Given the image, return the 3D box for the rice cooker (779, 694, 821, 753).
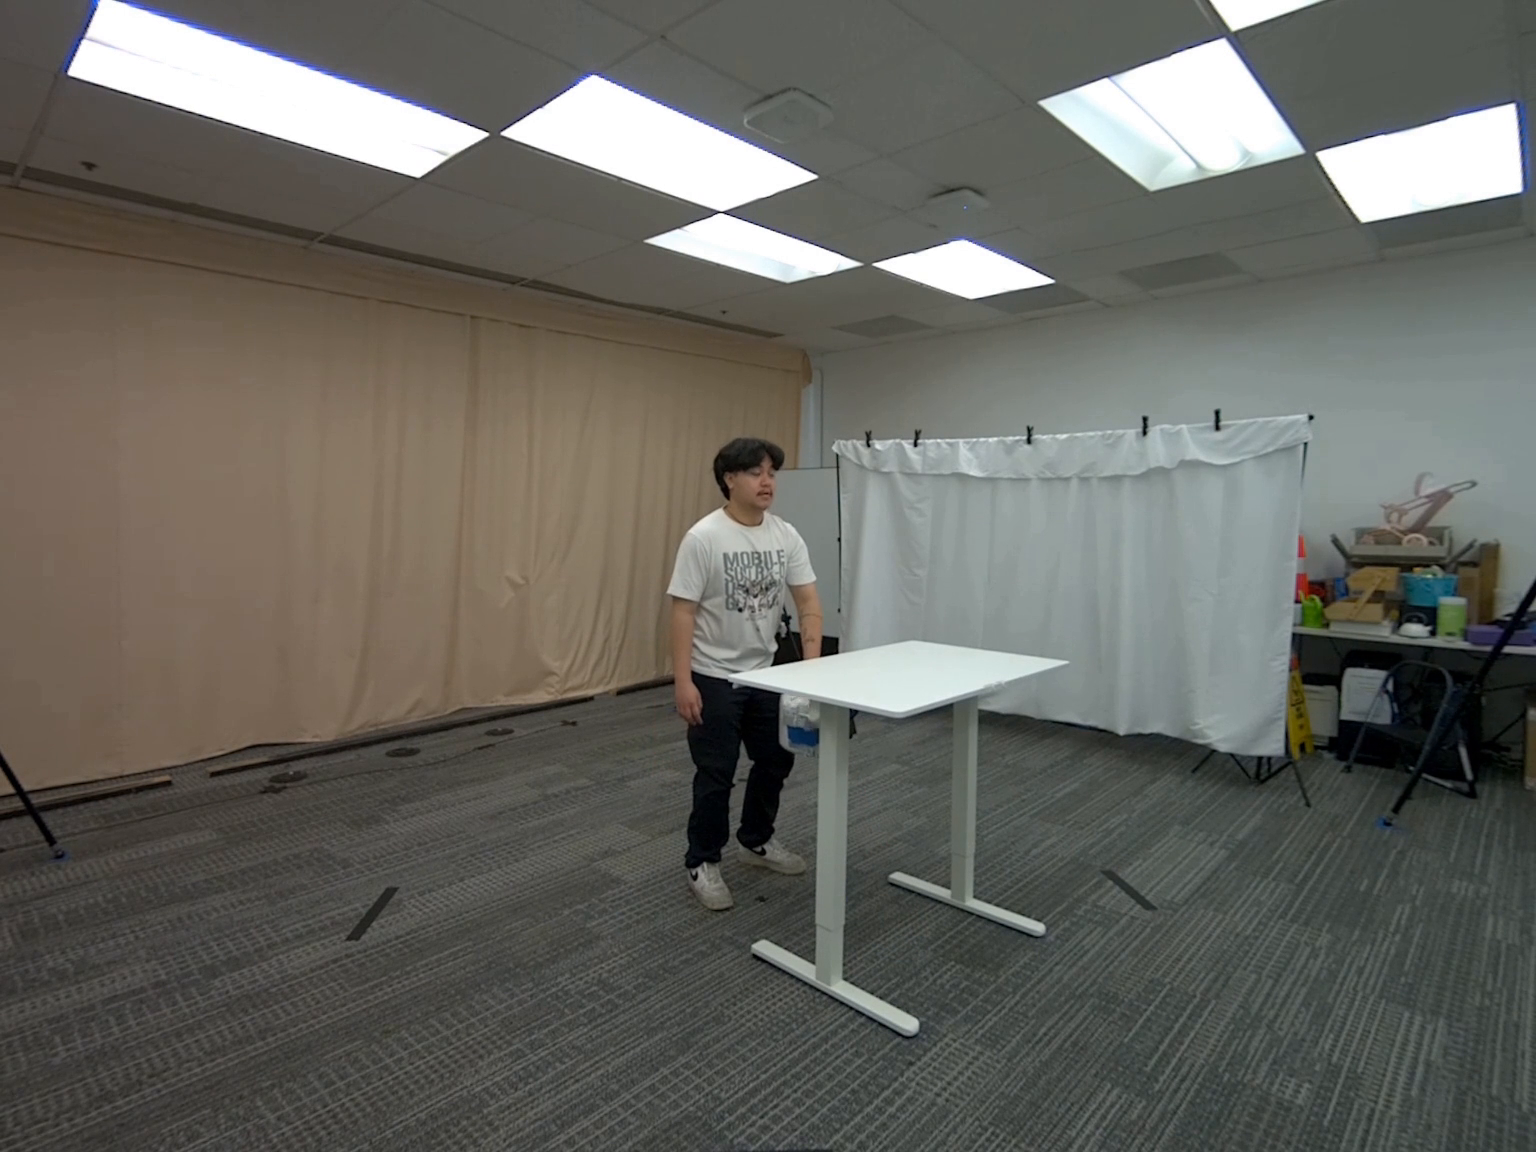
[{"bbox_3d":[0.146,0.503,2.978,0.214,0.232,0.225,-2,7,-43],"label":"rice cooker"}]
